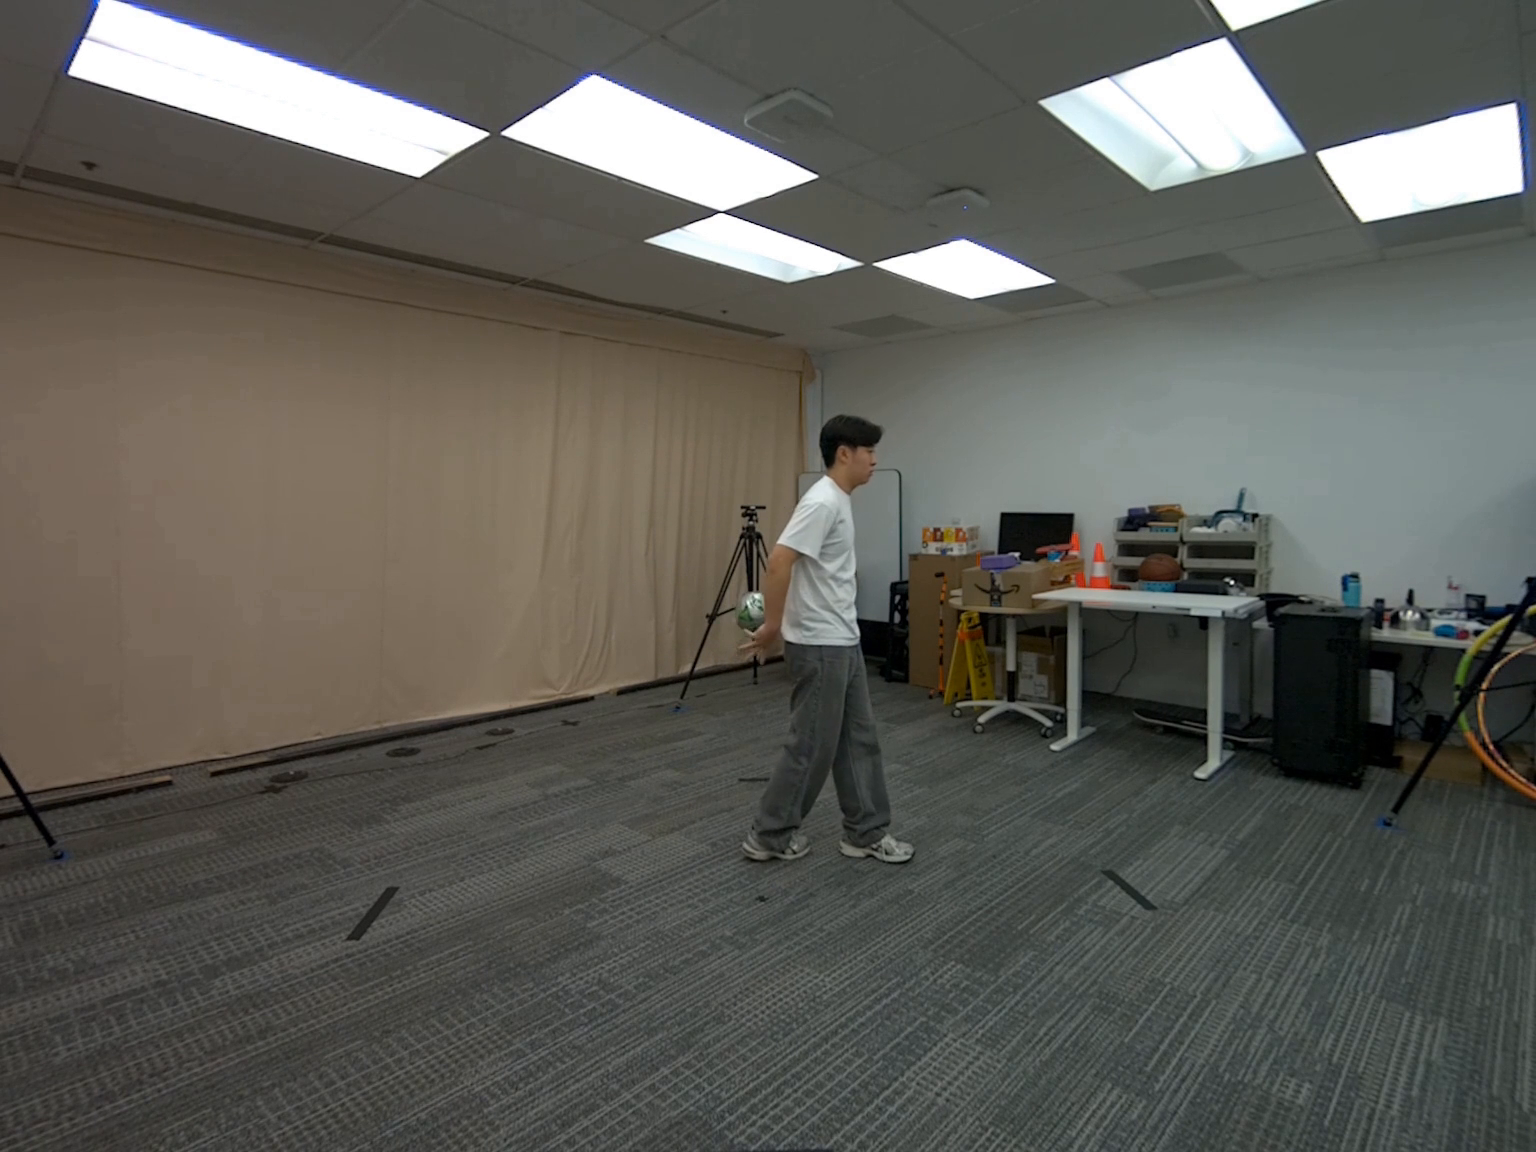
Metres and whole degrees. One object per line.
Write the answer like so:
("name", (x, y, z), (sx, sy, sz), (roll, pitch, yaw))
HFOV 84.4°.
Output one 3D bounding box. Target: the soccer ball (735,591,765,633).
("soccer ball", (-0.021, 0.156, 3.502), (0.187, 0.187, 0.188), (0, 4, -2))
